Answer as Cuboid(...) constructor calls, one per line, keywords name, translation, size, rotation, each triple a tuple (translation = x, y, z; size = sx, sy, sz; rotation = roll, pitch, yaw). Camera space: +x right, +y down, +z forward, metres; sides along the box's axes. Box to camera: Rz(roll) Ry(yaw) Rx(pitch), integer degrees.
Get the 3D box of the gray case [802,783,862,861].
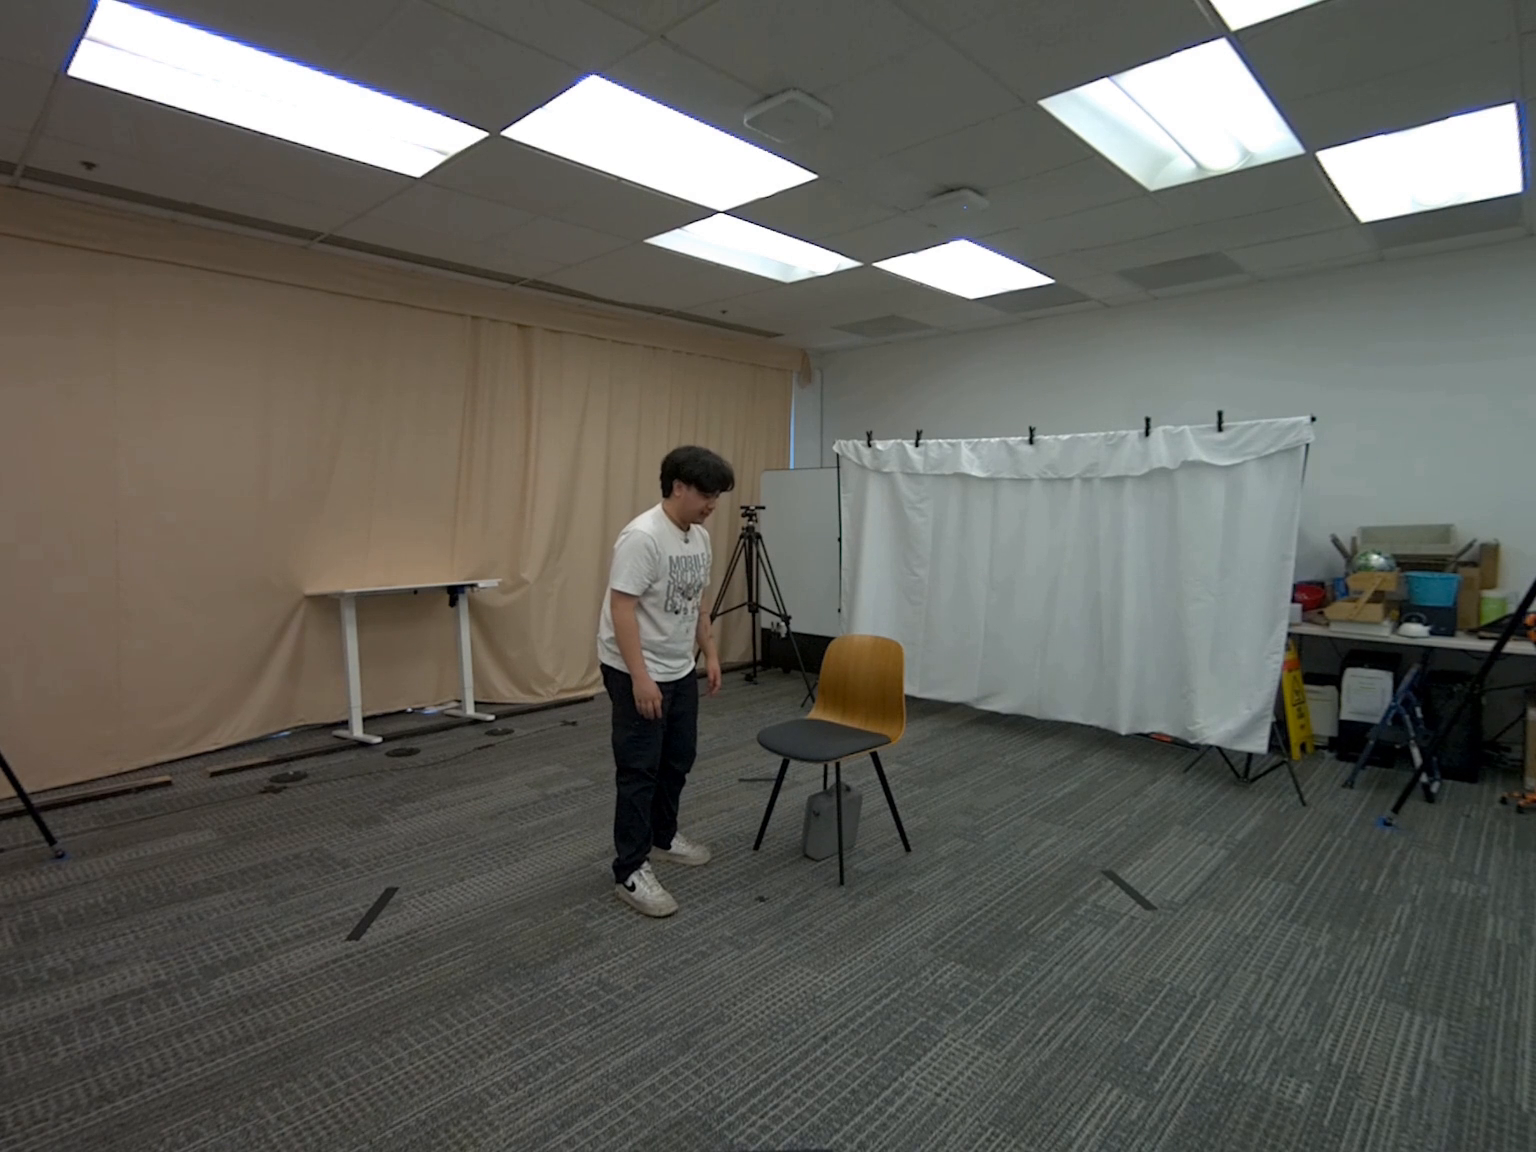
Cuboid(name="gray case", translation=(0.260, 0.983, 3.373), size=(0.249, 0.259, 0.108), rotation=(-3, 14, -43))
